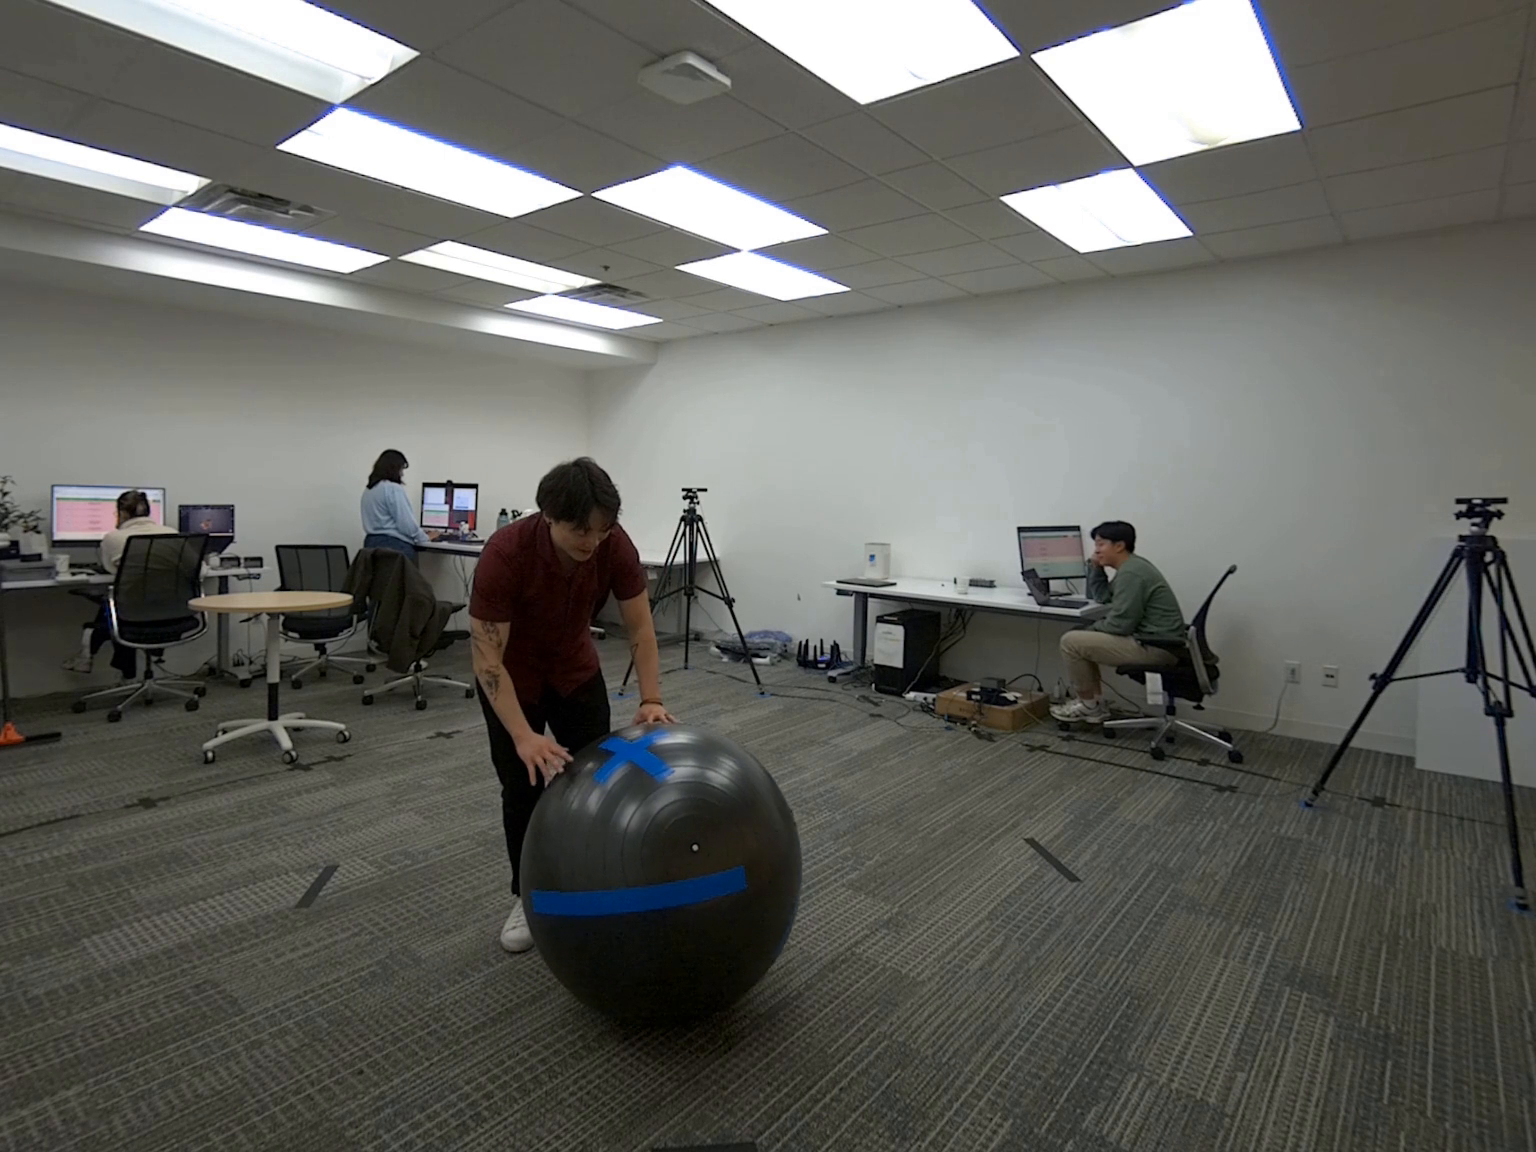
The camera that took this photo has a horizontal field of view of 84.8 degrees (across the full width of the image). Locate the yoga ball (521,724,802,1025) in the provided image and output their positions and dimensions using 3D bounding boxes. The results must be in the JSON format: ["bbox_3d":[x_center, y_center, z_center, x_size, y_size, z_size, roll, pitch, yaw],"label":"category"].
[{"bbox_3d":[-0.290,0.787,2.297,0.757,0.755,0.762,1,4,-2],"label":"yoga ball"}]
